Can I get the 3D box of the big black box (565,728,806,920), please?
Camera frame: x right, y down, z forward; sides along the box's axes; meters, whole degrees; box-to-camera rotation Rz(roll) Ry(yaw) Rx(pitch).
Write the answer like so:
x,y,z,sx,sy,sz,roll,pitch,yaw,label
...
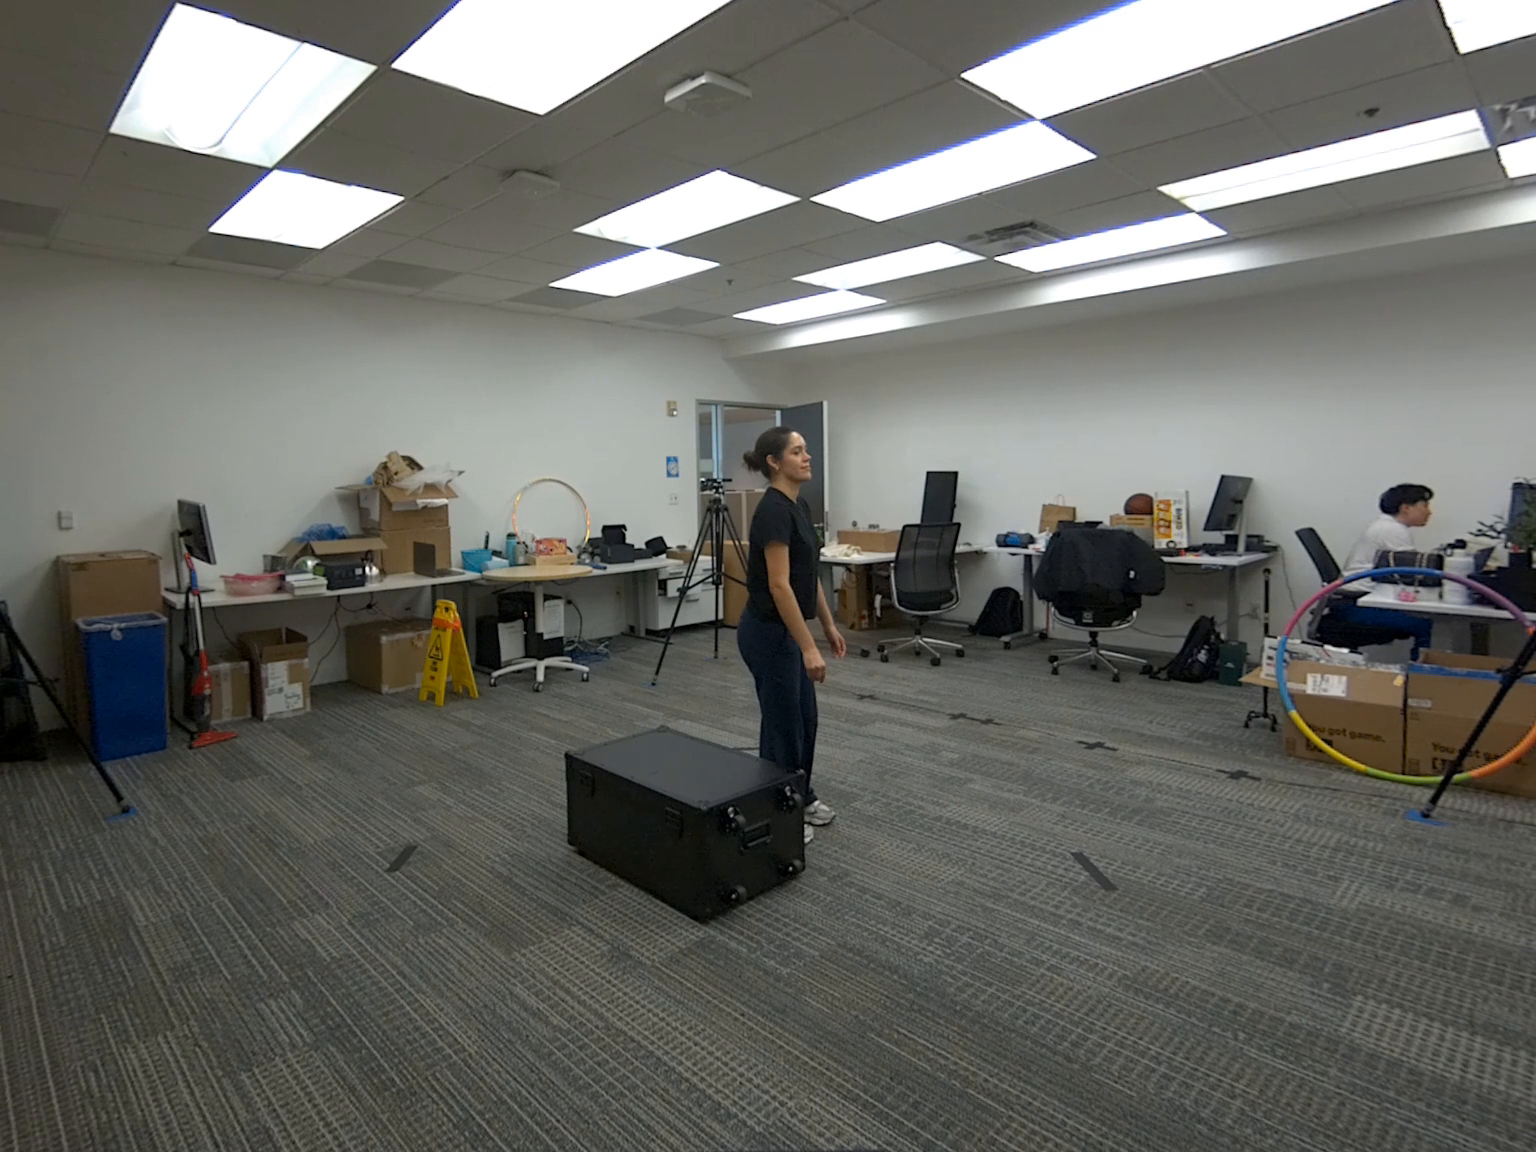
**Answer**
x,y,z,sx,sy,sz,roll,pitch,yaw,label
-0.298,0.859,3.089,0.888,0.395,0.507,4,8,45,big black box
